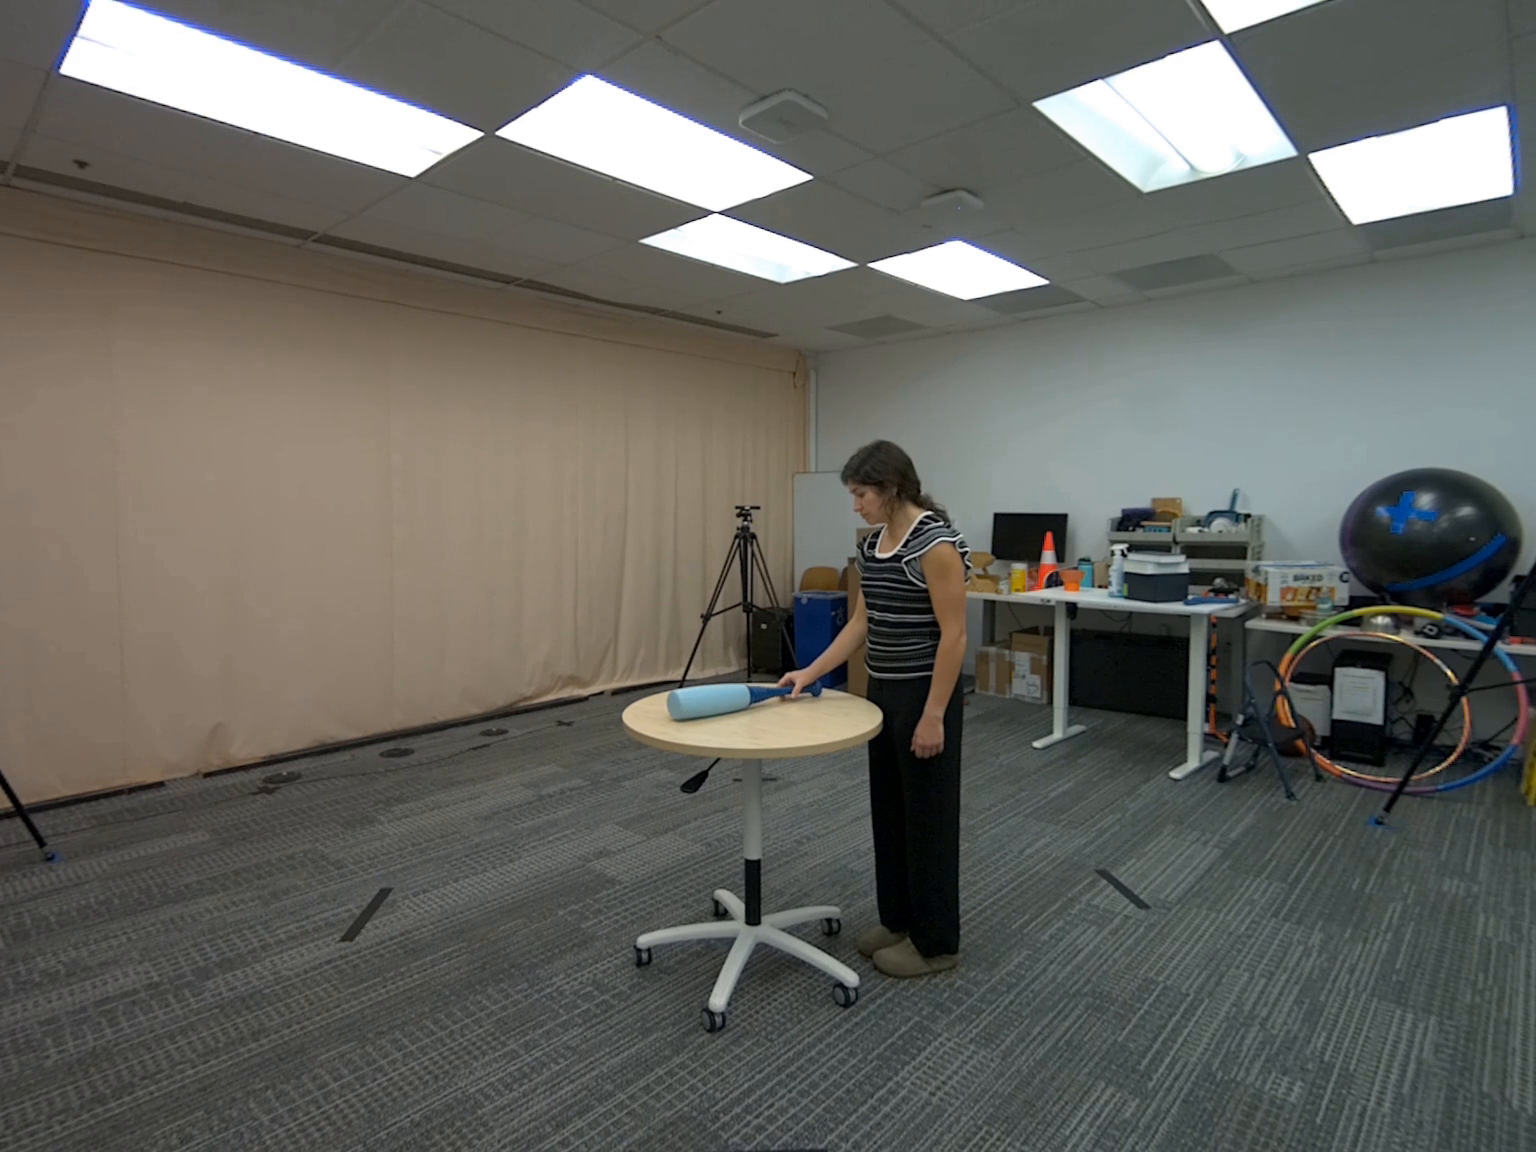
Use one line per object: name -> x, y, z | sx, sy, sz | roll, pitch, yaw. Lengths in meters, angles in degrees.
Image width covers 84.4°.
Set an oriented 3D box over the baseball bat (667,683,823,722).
baseball bat -> -0.048, 0.369, 2.529 | 0.528, 0.089, 0.092 | -1, 3, -32
